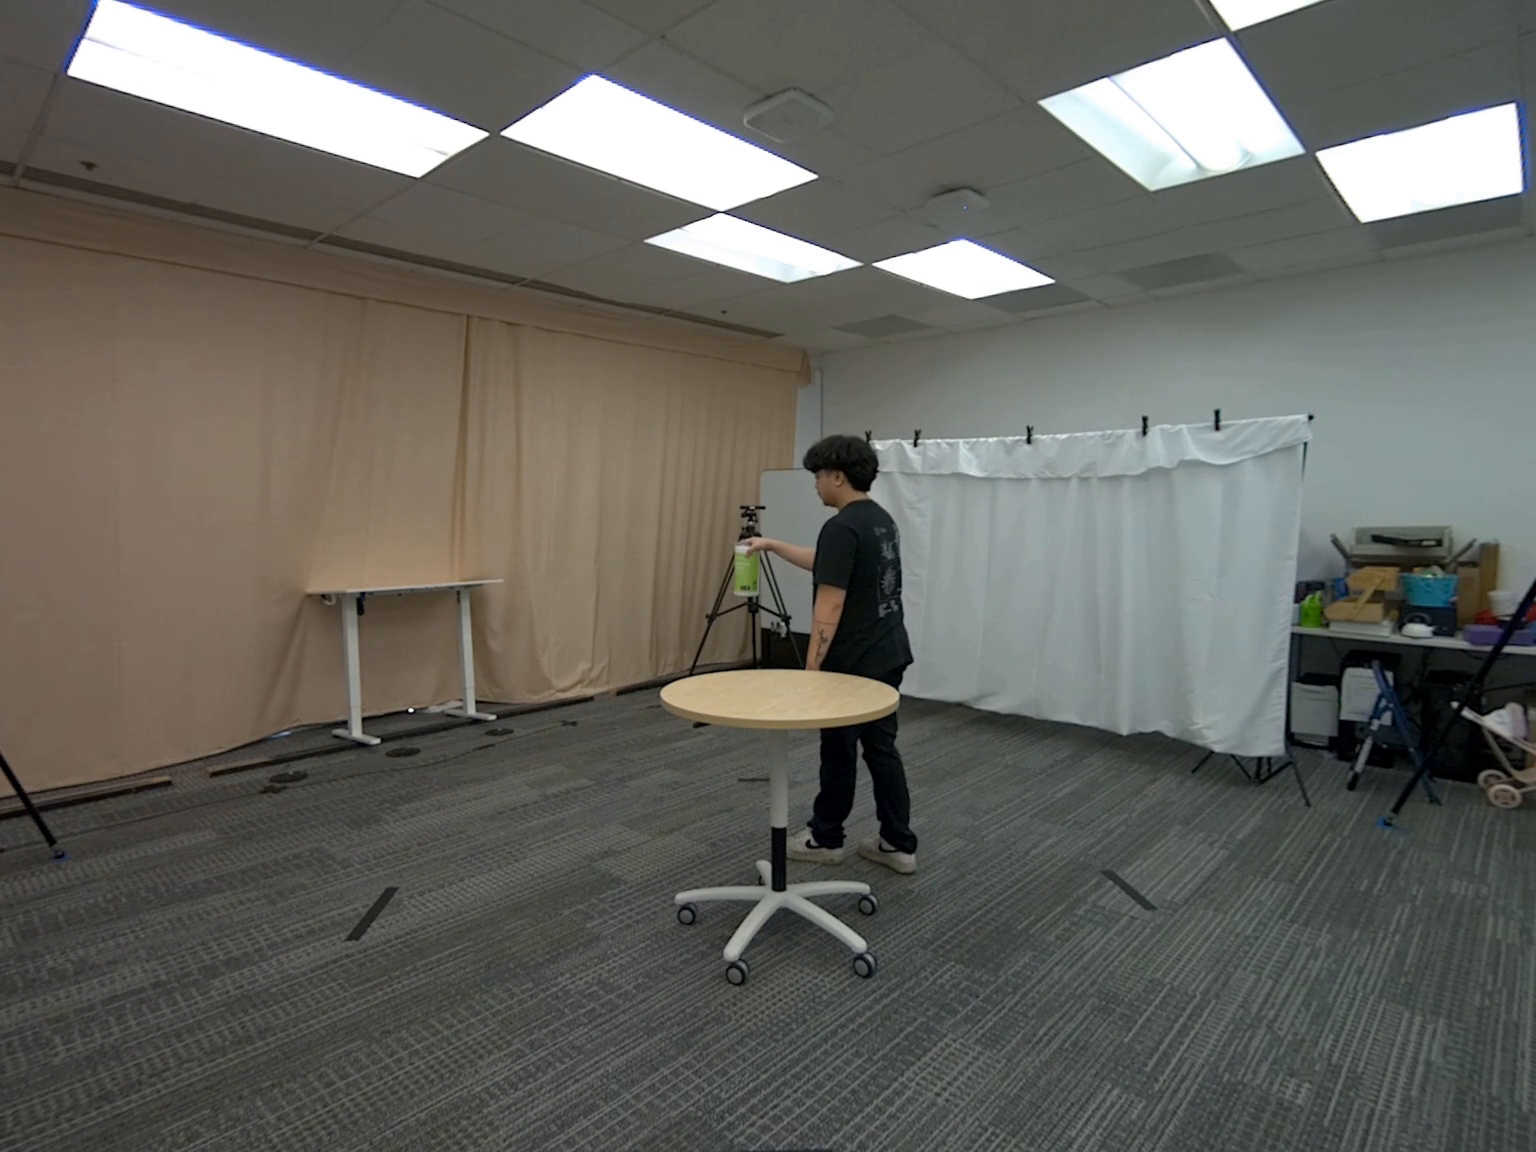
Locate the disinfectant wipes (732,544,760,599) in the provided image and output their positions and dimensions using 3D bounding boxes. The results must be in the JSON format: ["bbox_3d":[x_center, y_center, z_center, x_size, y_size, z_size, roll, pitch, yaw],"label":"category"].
[{"bbox_3d":[-0.093,-0.024,3.657,0.117,0.217,0.118,2,6,-2],"label":"disinfectant wipes"}]
